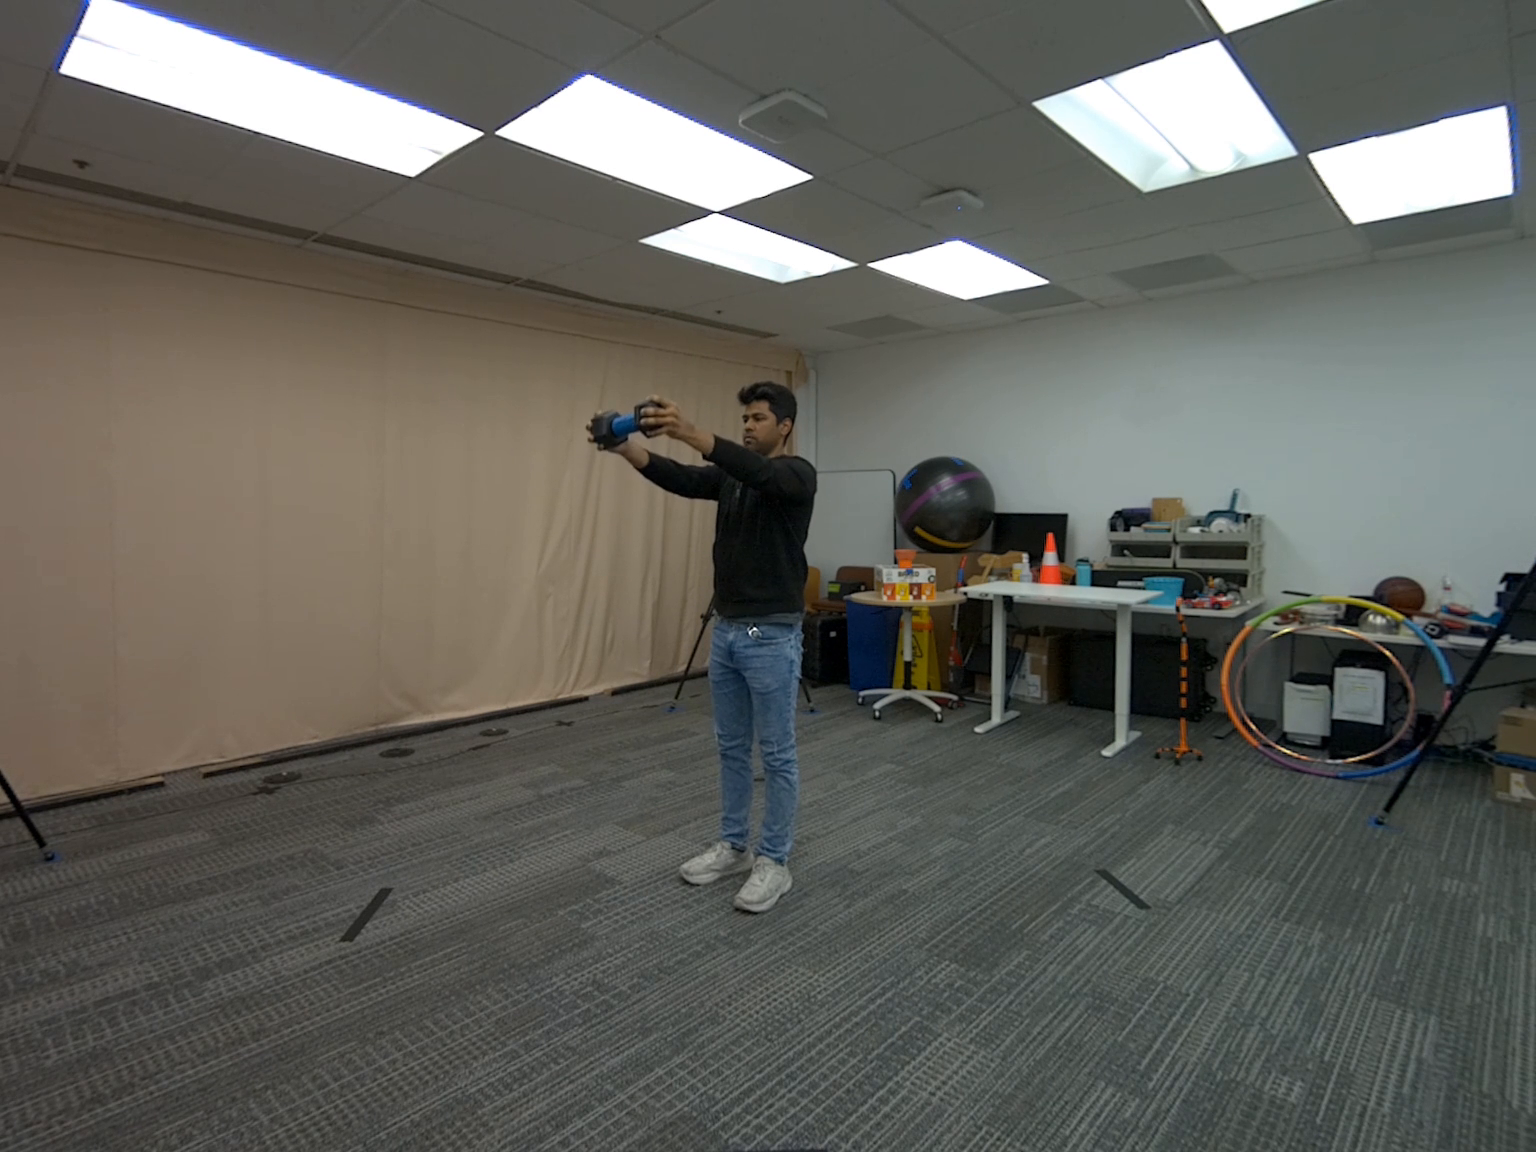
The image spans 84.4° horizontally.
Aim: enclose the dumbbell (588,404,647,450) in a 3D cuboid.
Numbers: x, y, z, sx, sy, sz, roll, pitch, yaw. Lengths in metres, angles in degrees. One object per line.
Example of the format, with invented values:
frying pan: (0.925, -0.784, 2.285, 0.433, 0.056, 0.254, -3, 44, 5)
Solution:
dumbbell: (-0.418, -0.479, 2.630, 0.302, 0.123, 0.105, -5, -11, 41)
